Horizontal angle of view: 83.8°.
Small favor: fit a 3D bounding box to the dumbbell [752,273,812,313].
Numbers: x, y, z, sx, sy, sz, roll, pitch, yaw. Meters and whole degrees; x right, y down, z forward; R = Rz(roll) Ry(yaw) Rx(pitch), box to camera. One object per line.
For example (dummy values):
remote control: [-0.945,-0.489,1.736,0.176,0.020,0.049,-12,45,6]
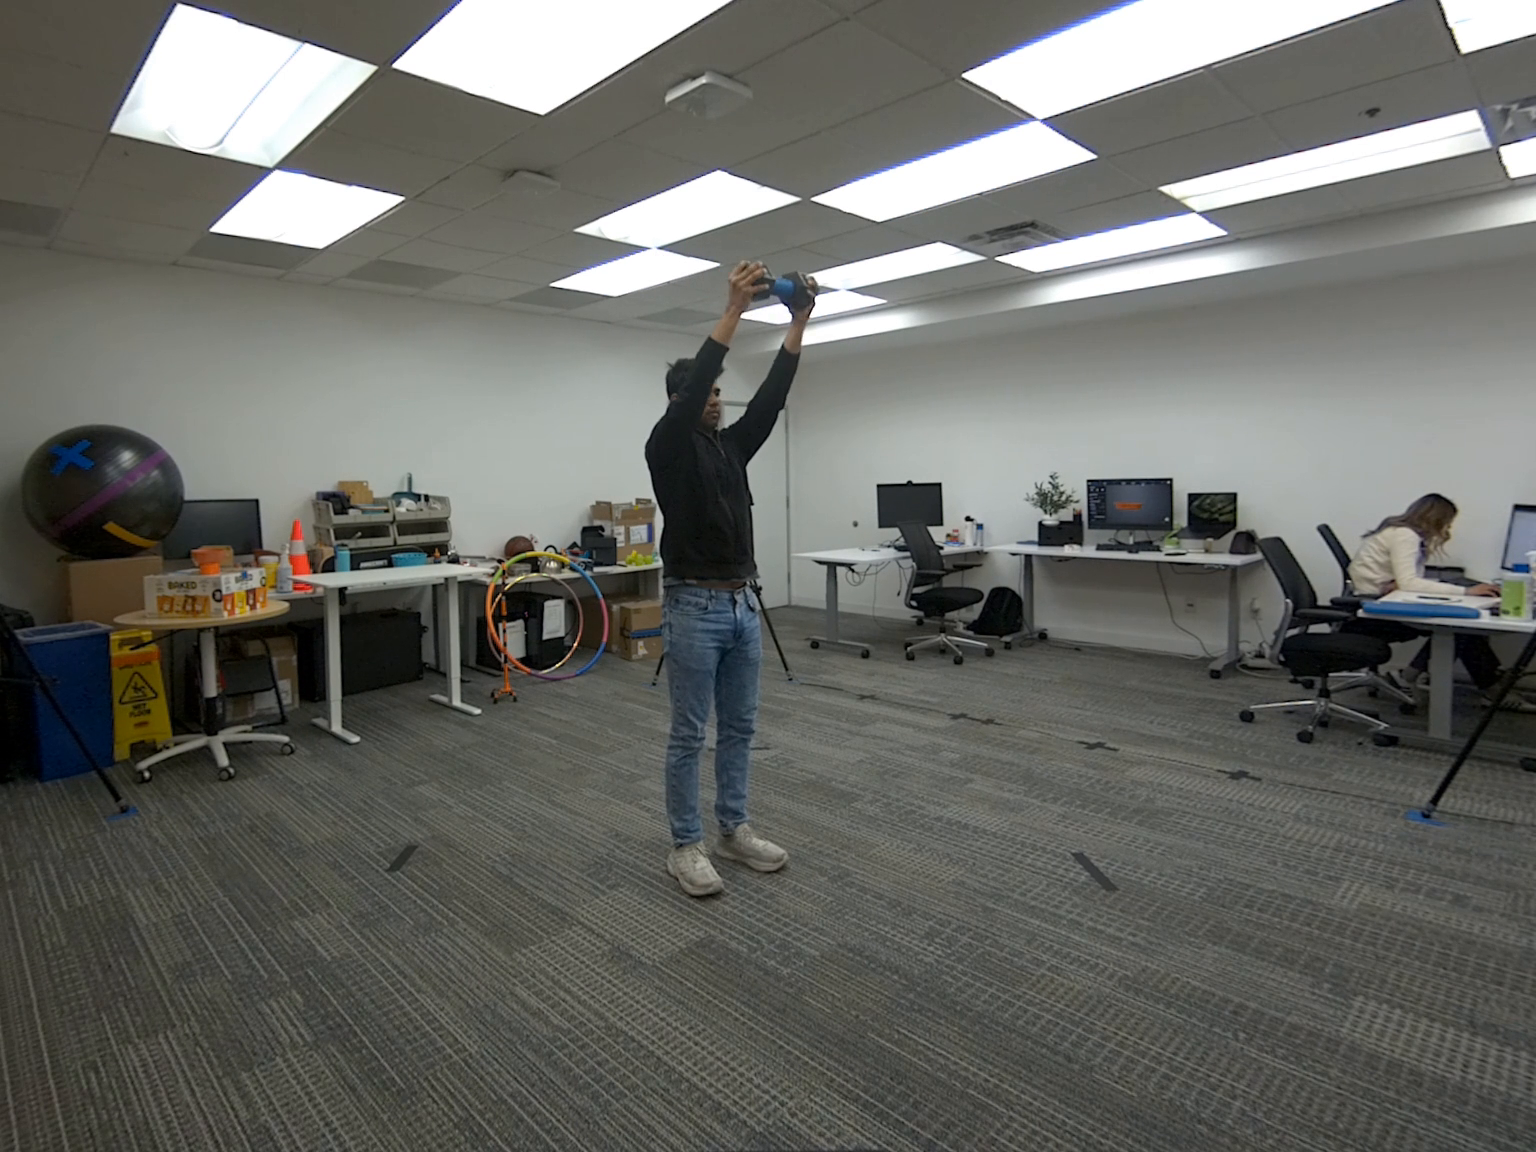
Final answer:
dumbbell: [0.031,-0.934,2.768,0.286,0.125,0.109,-10,-22,-45]
